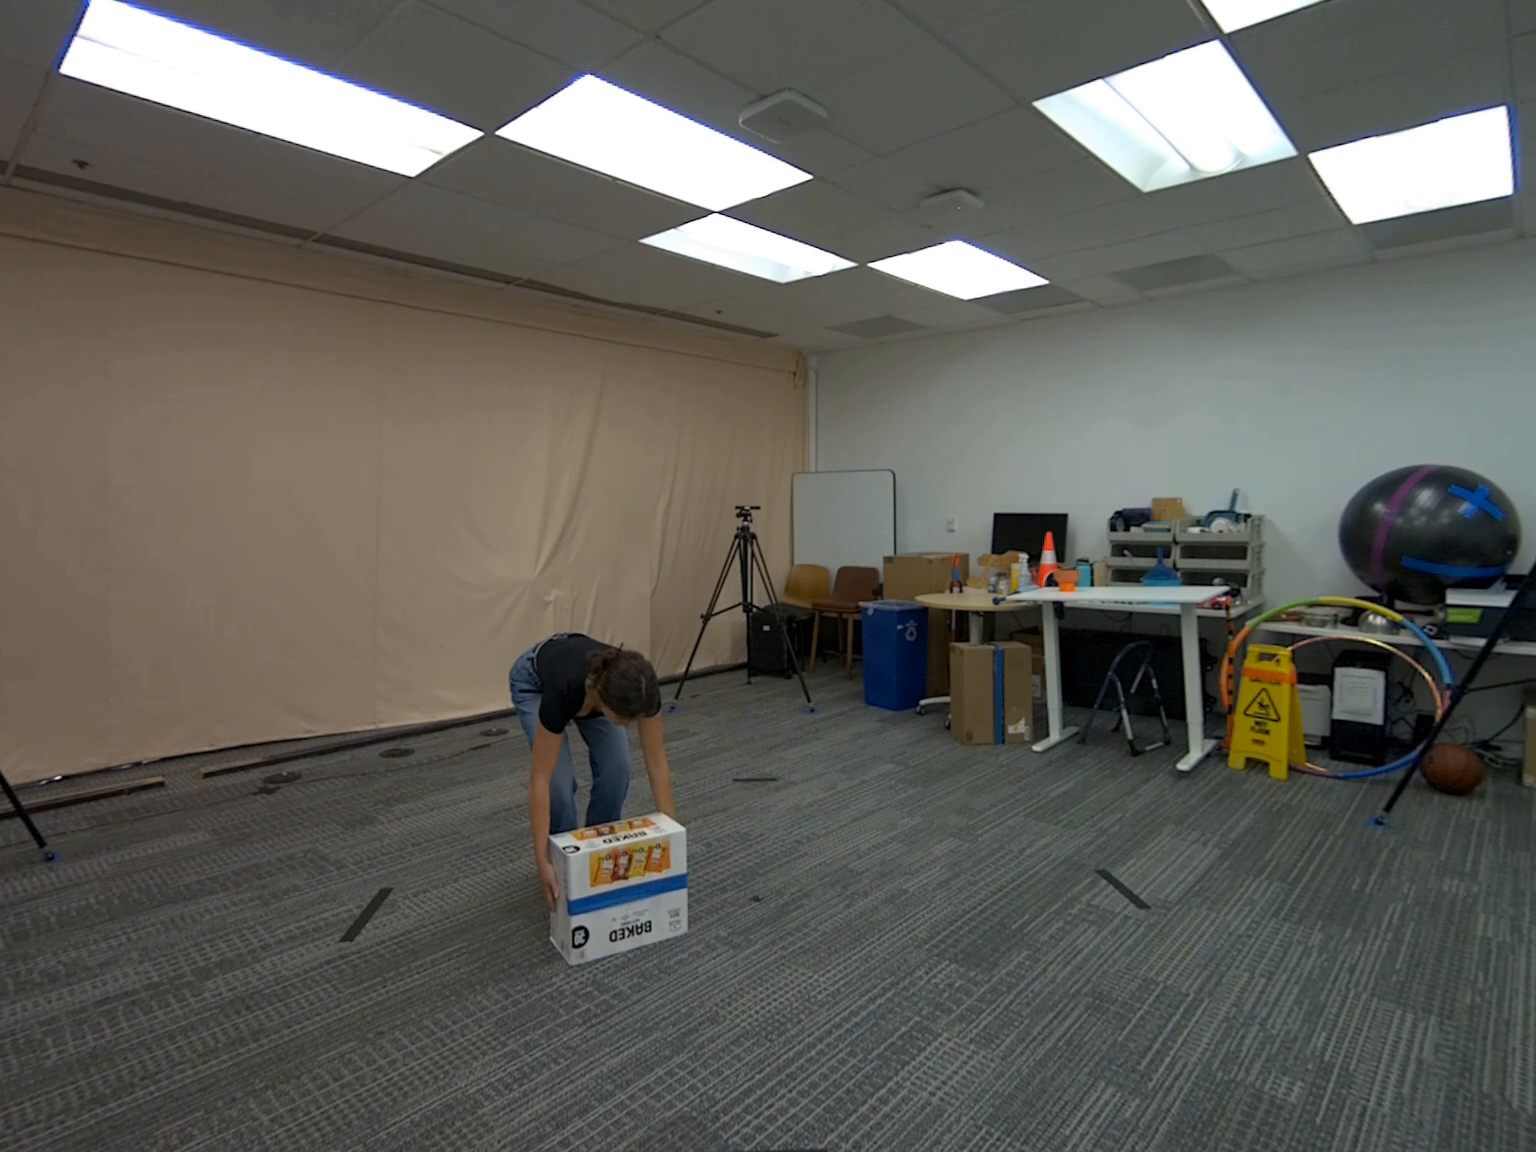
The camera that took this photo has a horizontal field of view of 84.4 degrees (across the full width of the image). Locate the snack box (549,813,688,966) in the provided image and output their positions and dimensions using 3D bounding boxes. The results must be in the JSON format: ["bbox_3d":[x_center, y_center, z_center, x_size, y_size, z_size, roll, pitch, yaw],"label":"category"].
[{"bbox_3d":[-0.481,1.001,2.724,0.394,0.340,0.211,-3,2,-31],"label":"snack box"}]
